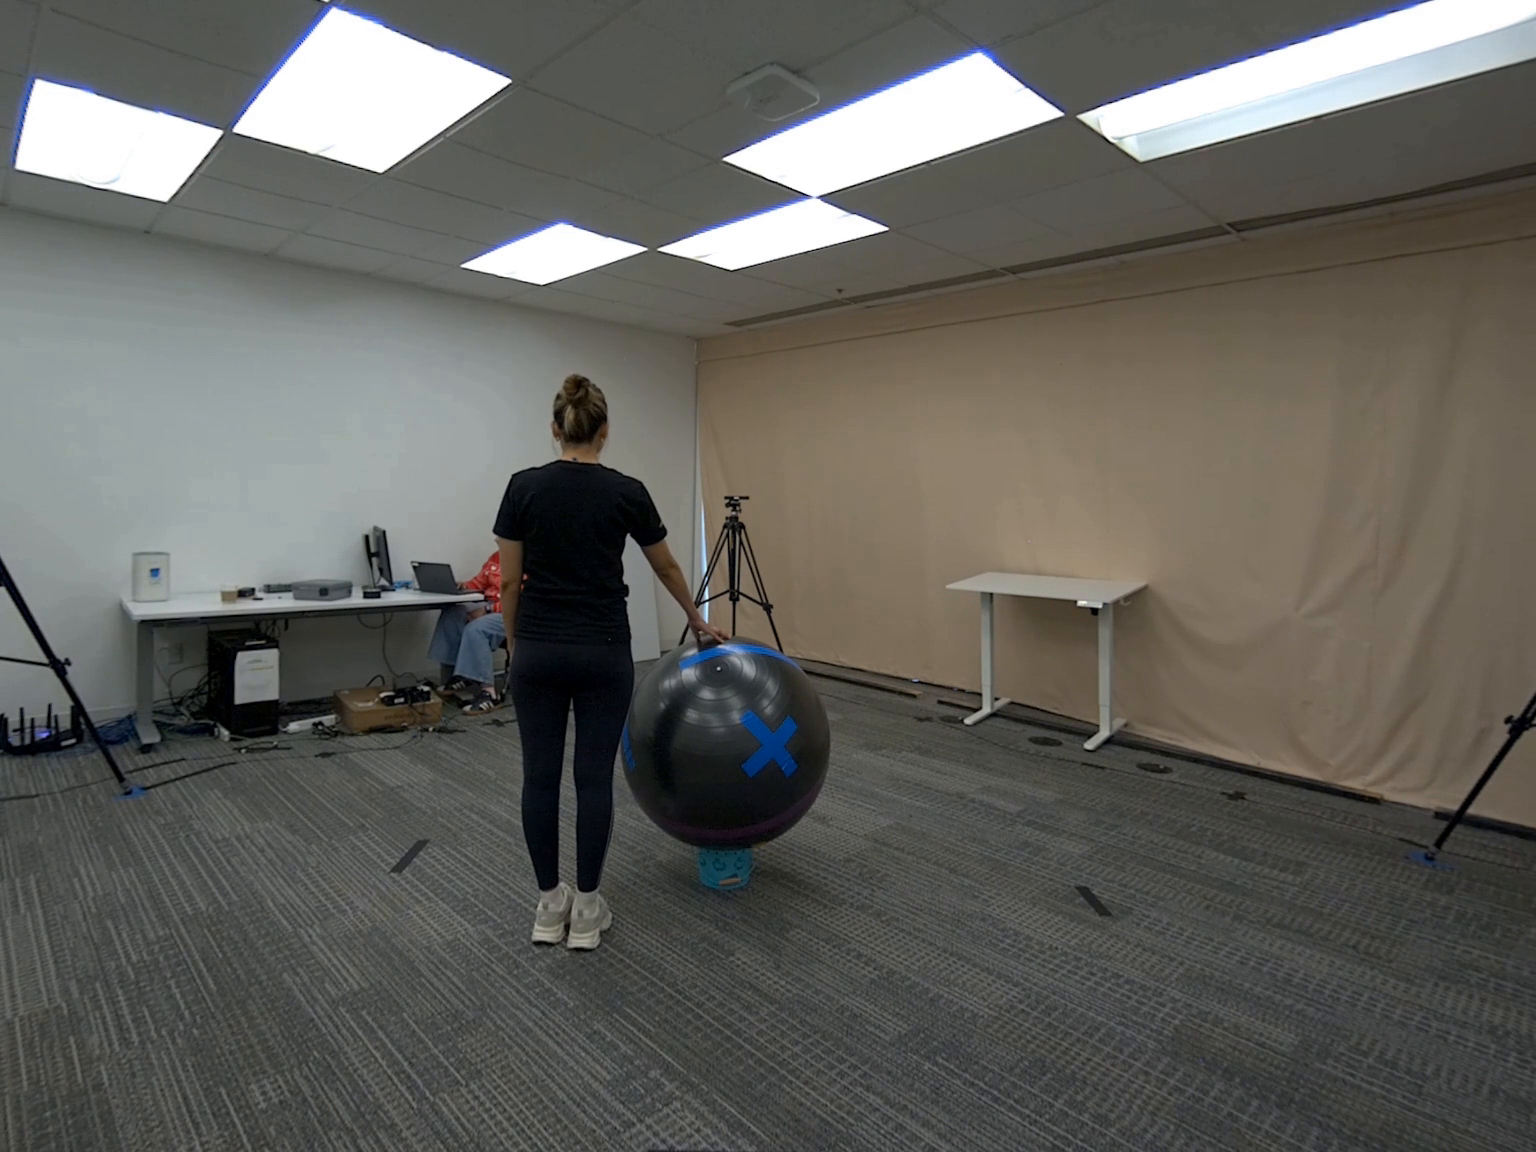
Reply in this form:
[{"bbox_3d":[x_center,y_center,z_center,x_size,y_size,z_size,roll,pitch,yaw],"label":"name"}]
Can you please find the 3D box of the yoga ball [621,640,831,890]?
[{"bbox_3d":[-0.158,0.603,3.046,0.757,0.756,0.761,1,4,-1],"label":"yoga ball"}]
